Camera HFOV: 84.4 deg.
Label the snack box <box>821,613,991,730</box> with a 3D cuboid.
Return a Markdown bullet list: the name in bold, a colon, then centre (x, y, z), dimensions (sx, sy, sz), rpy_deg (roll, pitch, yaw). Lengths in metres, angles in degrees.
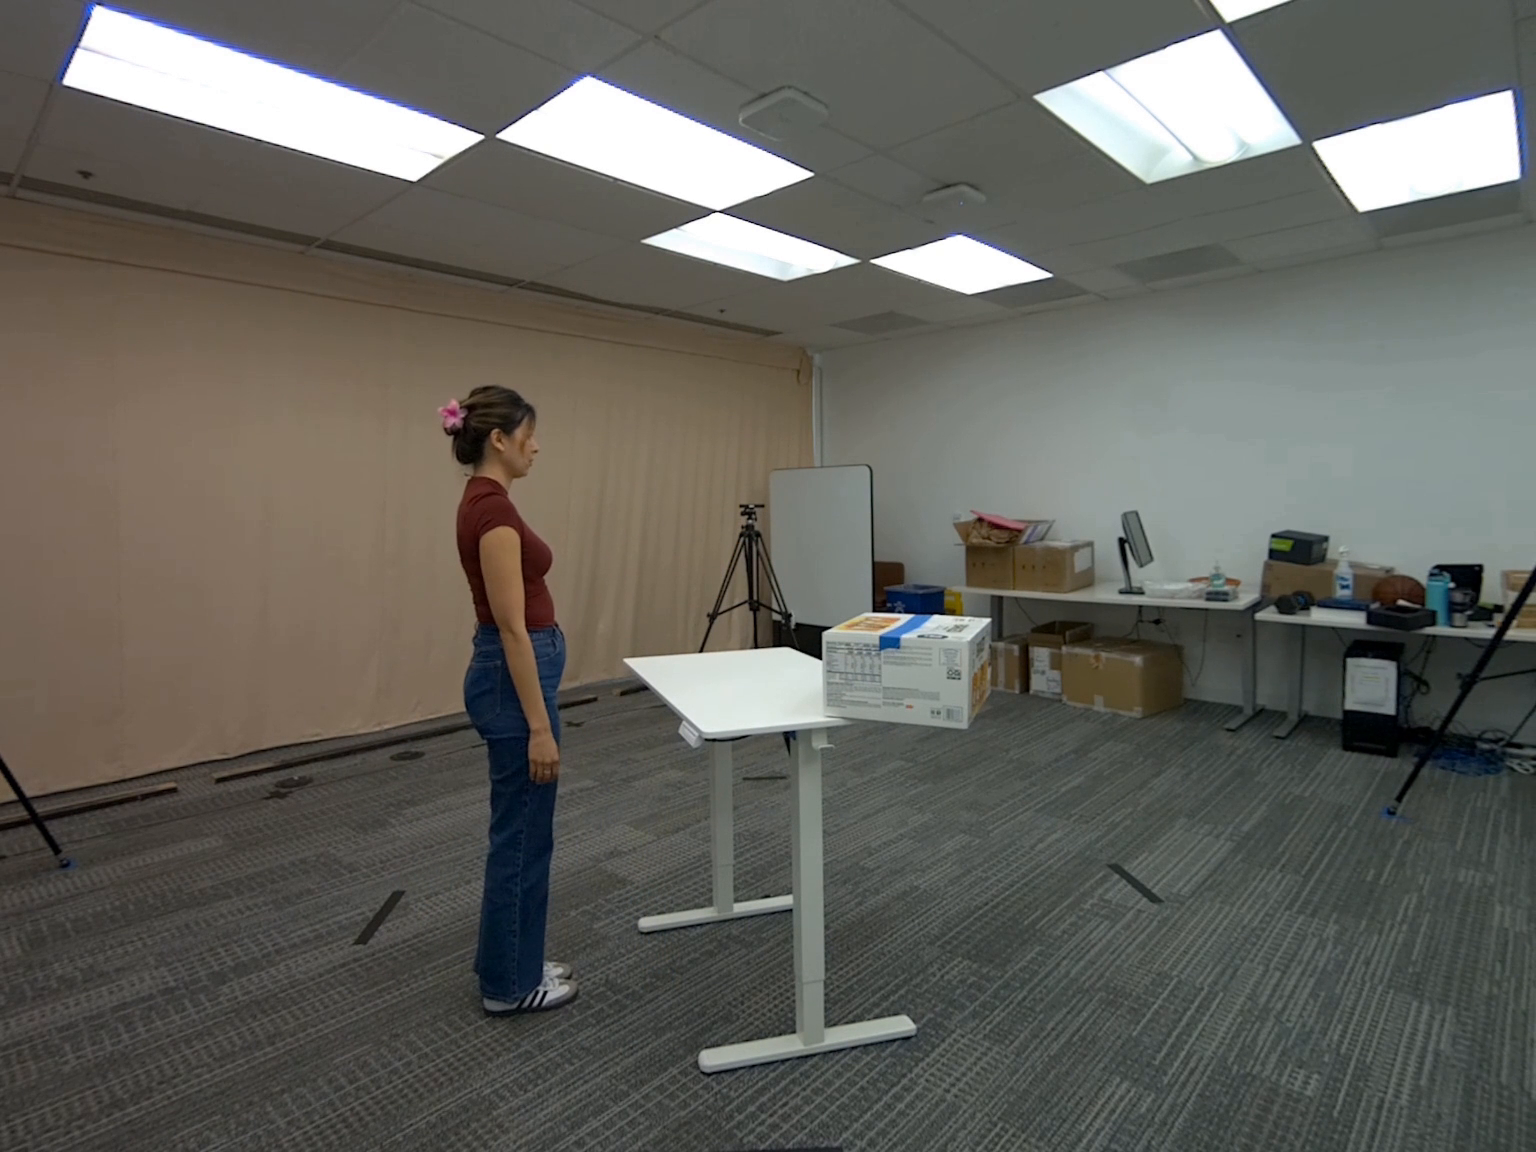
- **snack box**: centre (0.357, 0.224, 2.112), dimensions (0.349, 0.205, 0.396), rpy_deg (1, 4, 24)
